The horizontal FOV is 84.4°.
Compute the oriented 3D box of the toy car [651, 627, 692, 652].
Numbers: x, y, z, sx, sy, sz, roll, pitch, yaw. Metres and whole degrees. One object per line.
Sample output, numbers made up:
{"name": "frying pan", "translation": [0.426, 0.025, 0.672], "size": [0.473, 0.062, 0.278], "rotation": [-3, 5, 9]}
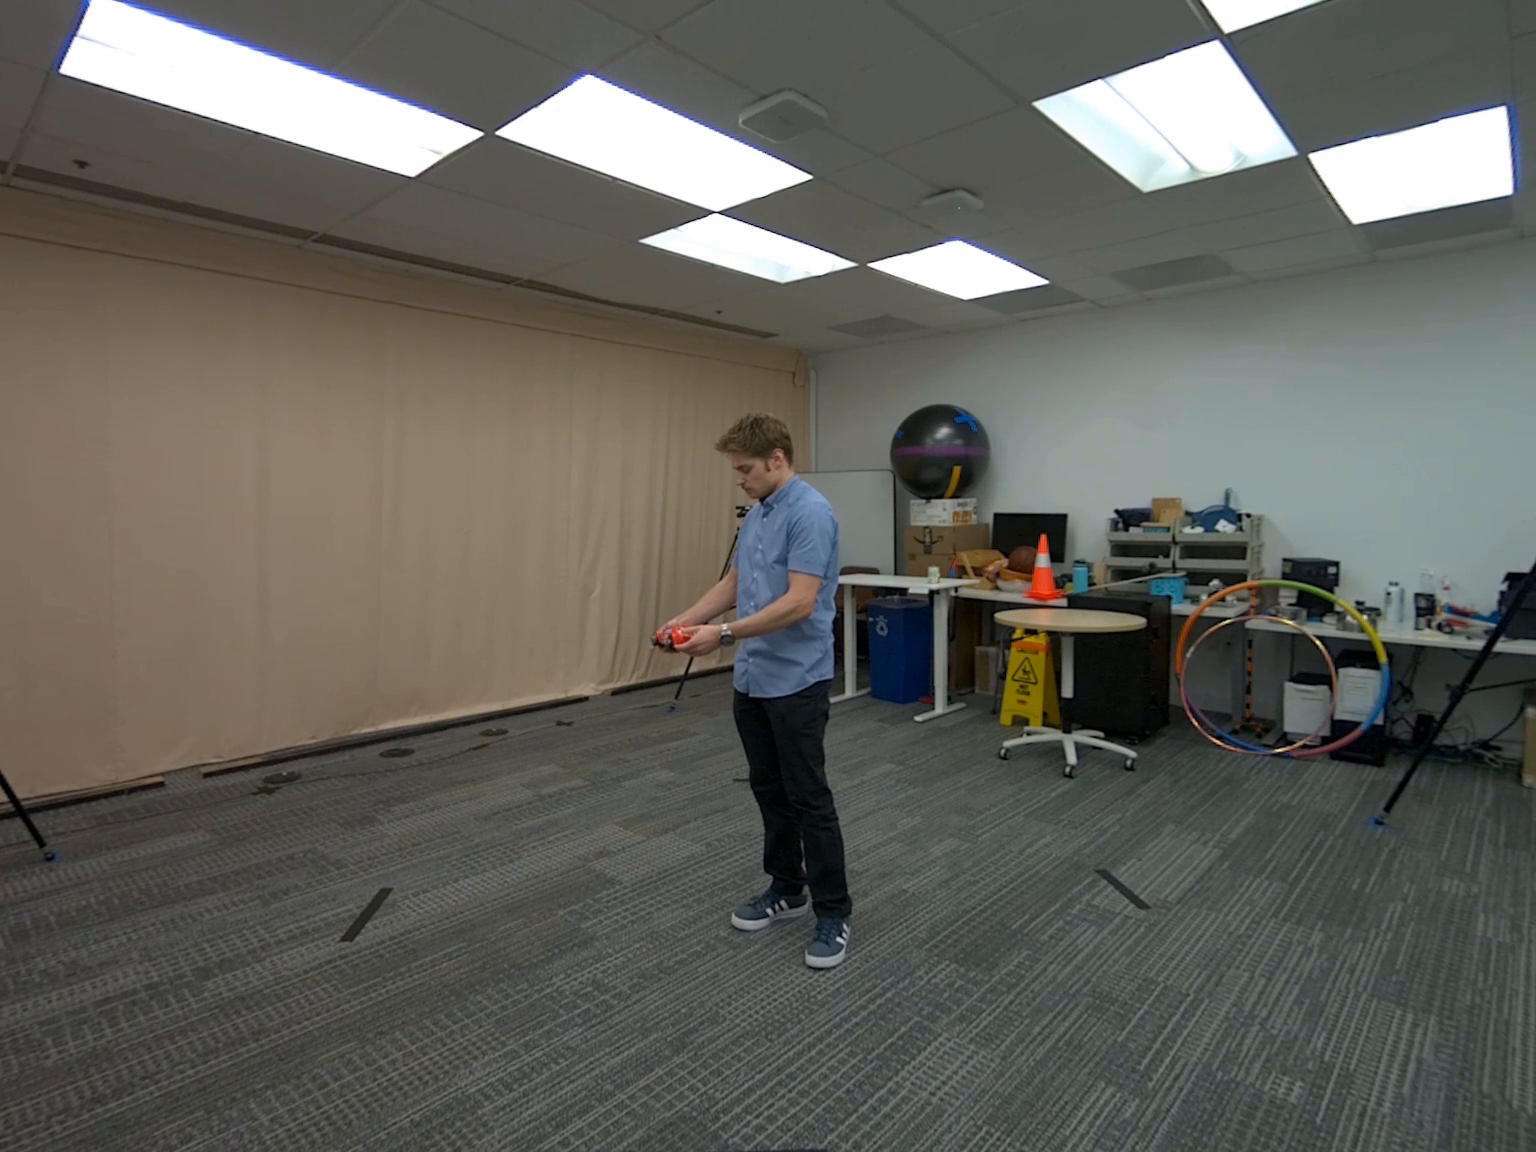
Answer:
{"name": "toy car", "translation": [-0.279, 0.205, 2.702], "size": [0.128, 0.084, 0.258], "rotation": [5, -11, -20]}
